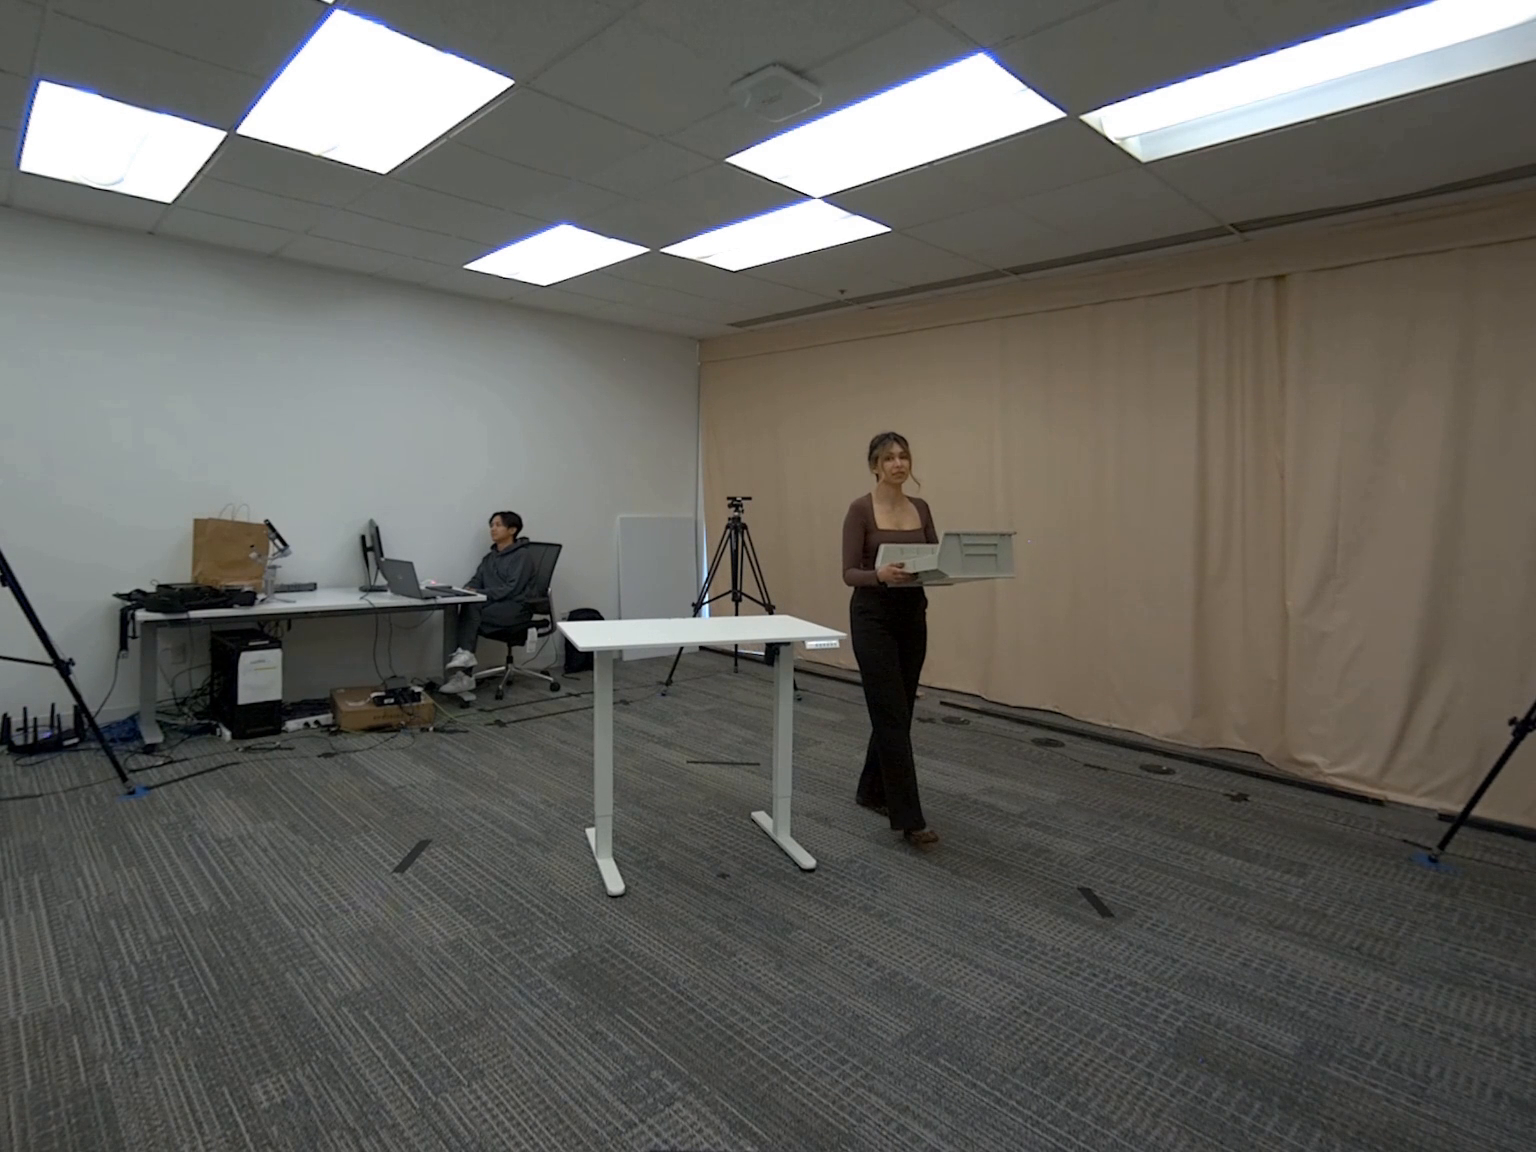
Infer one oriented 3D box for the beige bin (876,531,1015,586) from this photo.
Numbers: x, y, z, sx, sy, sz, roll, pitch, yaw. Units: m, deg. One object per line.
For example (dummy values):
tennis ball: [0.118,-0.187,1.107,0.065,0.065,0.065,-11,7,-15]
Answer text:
beige bin: [0.674,-0.061,3.334,0.370,0.190,0.428,0,-6,-25]
